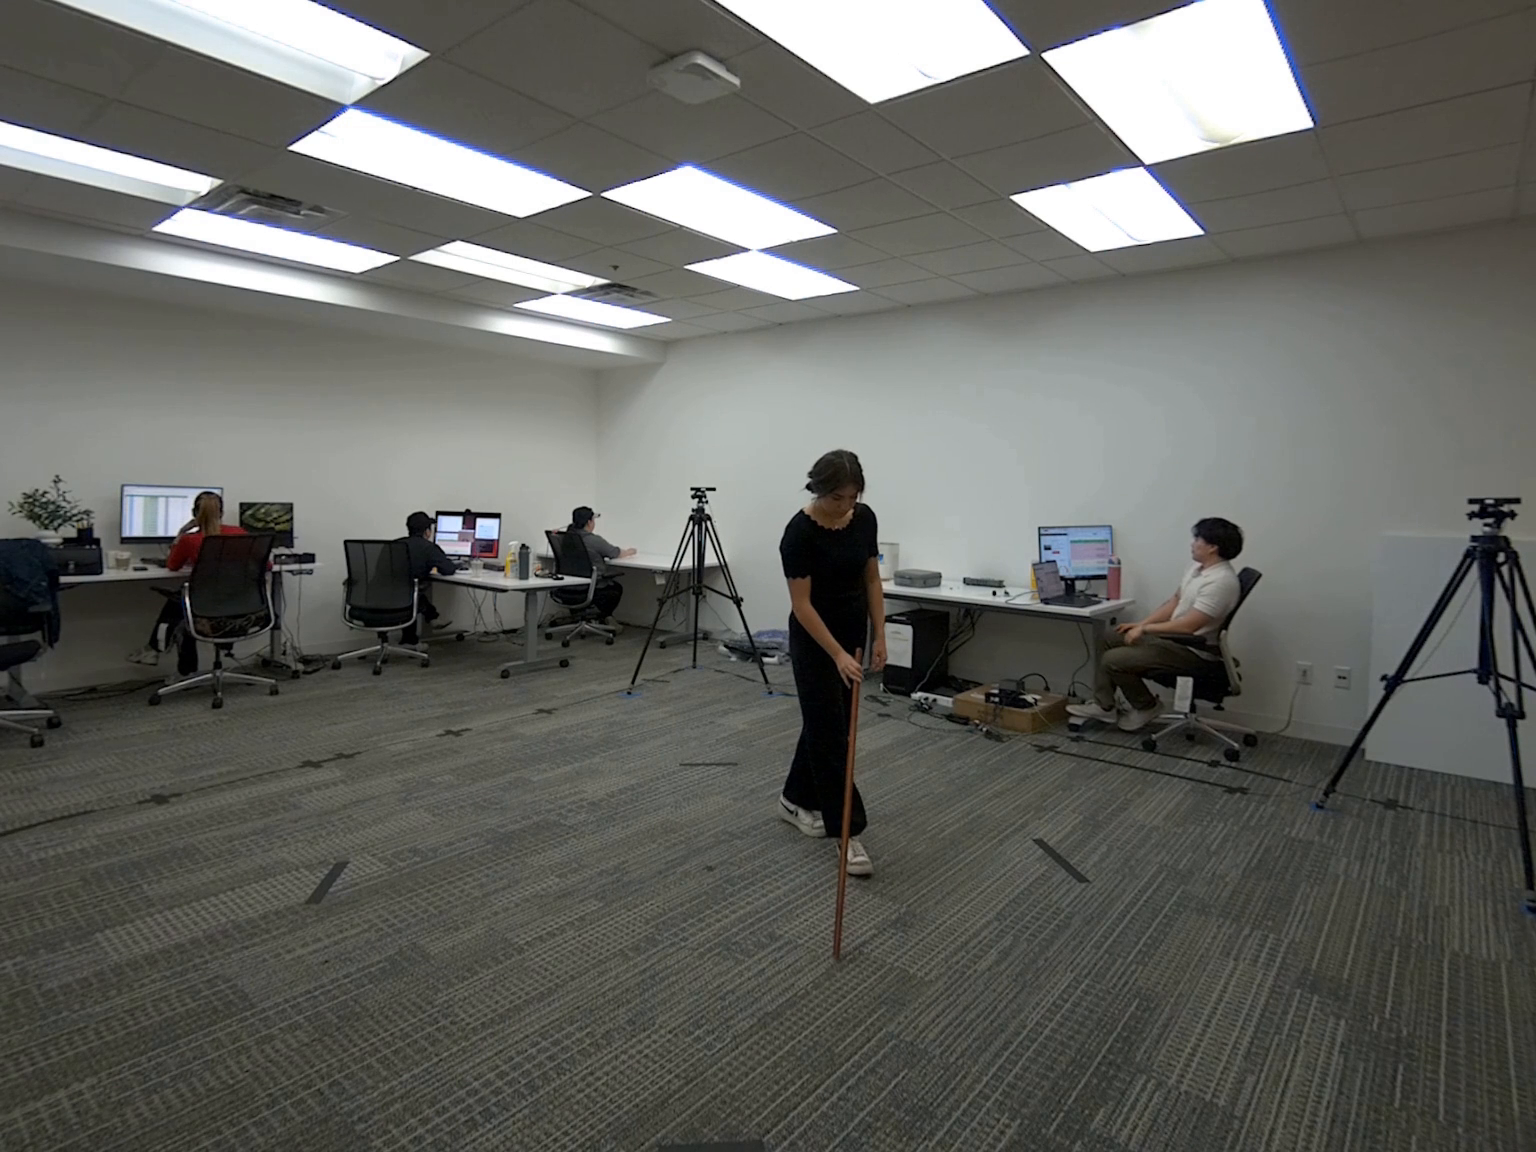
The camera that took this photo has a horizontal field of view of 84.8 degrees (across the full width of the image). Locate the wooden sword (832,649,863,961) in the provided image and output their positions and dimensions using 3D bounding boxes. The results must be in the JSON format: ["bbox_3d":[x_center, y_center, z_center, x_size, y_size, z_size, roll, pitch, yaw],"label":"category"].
[{"bbox_3d":[0.266,0.722,2.816,0.024,1.047,0.049,-7,-37,20],"label":"wooden sword"}]
